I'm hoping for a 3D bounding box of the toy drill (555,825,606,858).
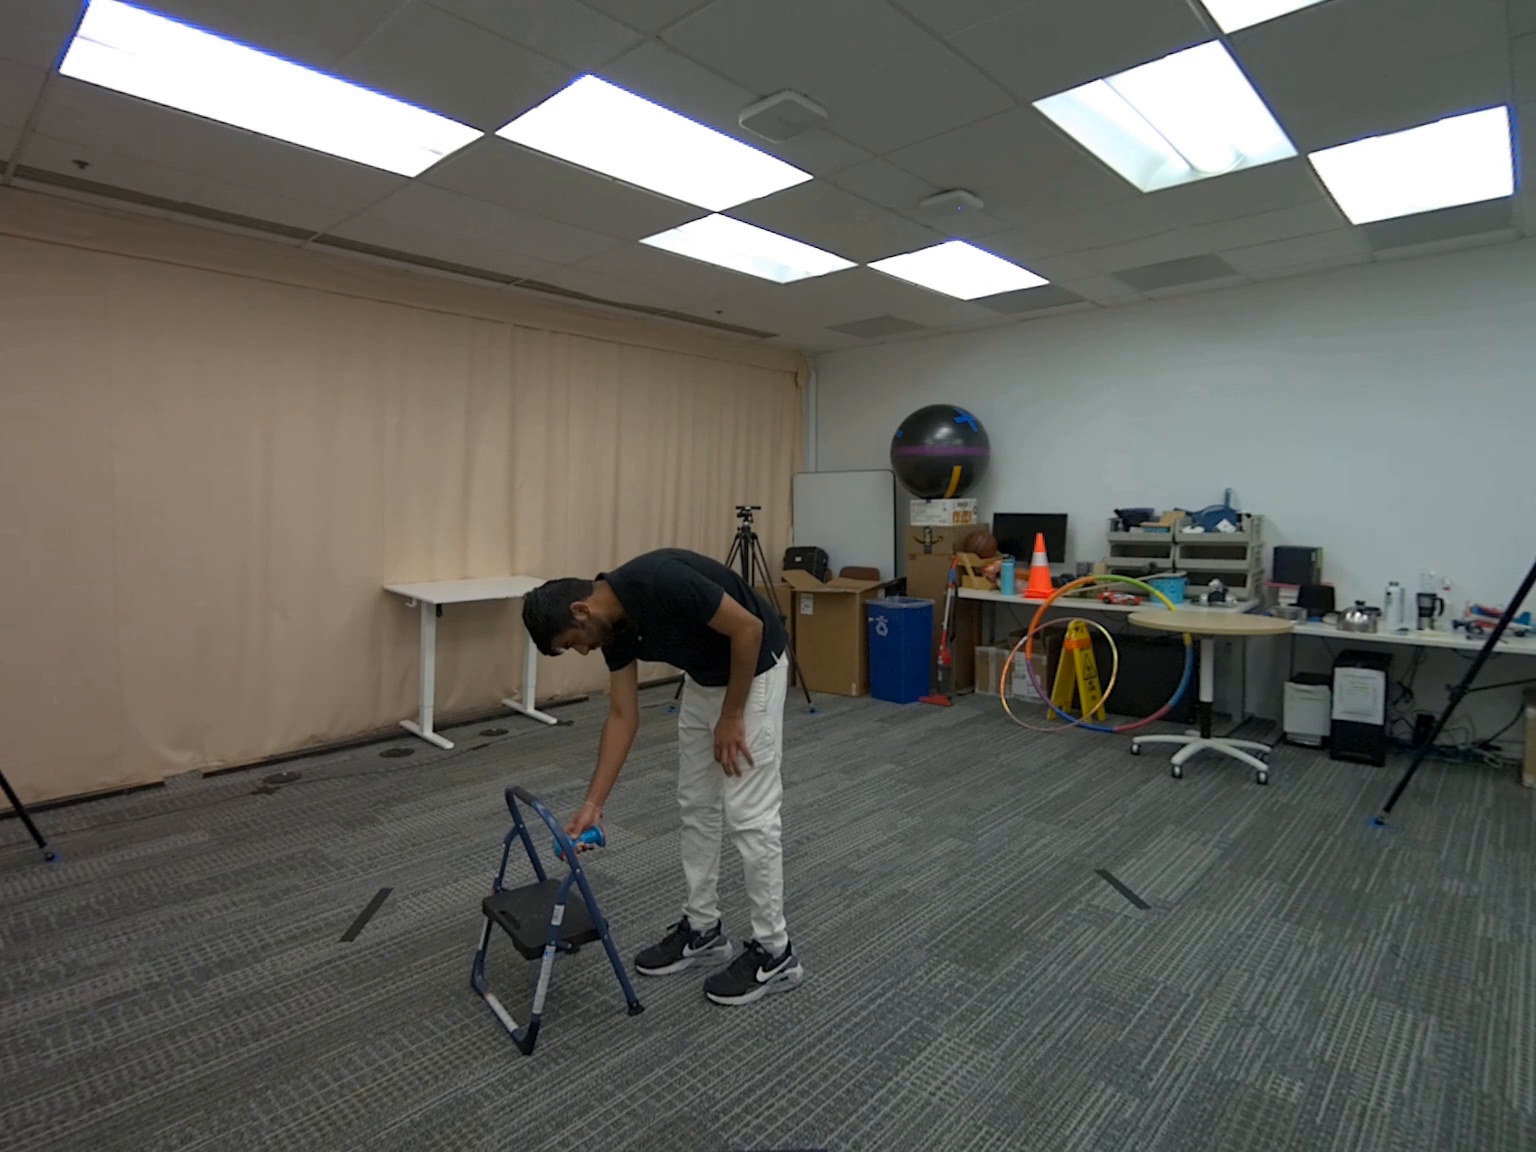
[{"bbox_3d":[-0.502,0.749,2.317,0.143,0.061,0.174,-5,9,-20],"label":"toy drill"}]
